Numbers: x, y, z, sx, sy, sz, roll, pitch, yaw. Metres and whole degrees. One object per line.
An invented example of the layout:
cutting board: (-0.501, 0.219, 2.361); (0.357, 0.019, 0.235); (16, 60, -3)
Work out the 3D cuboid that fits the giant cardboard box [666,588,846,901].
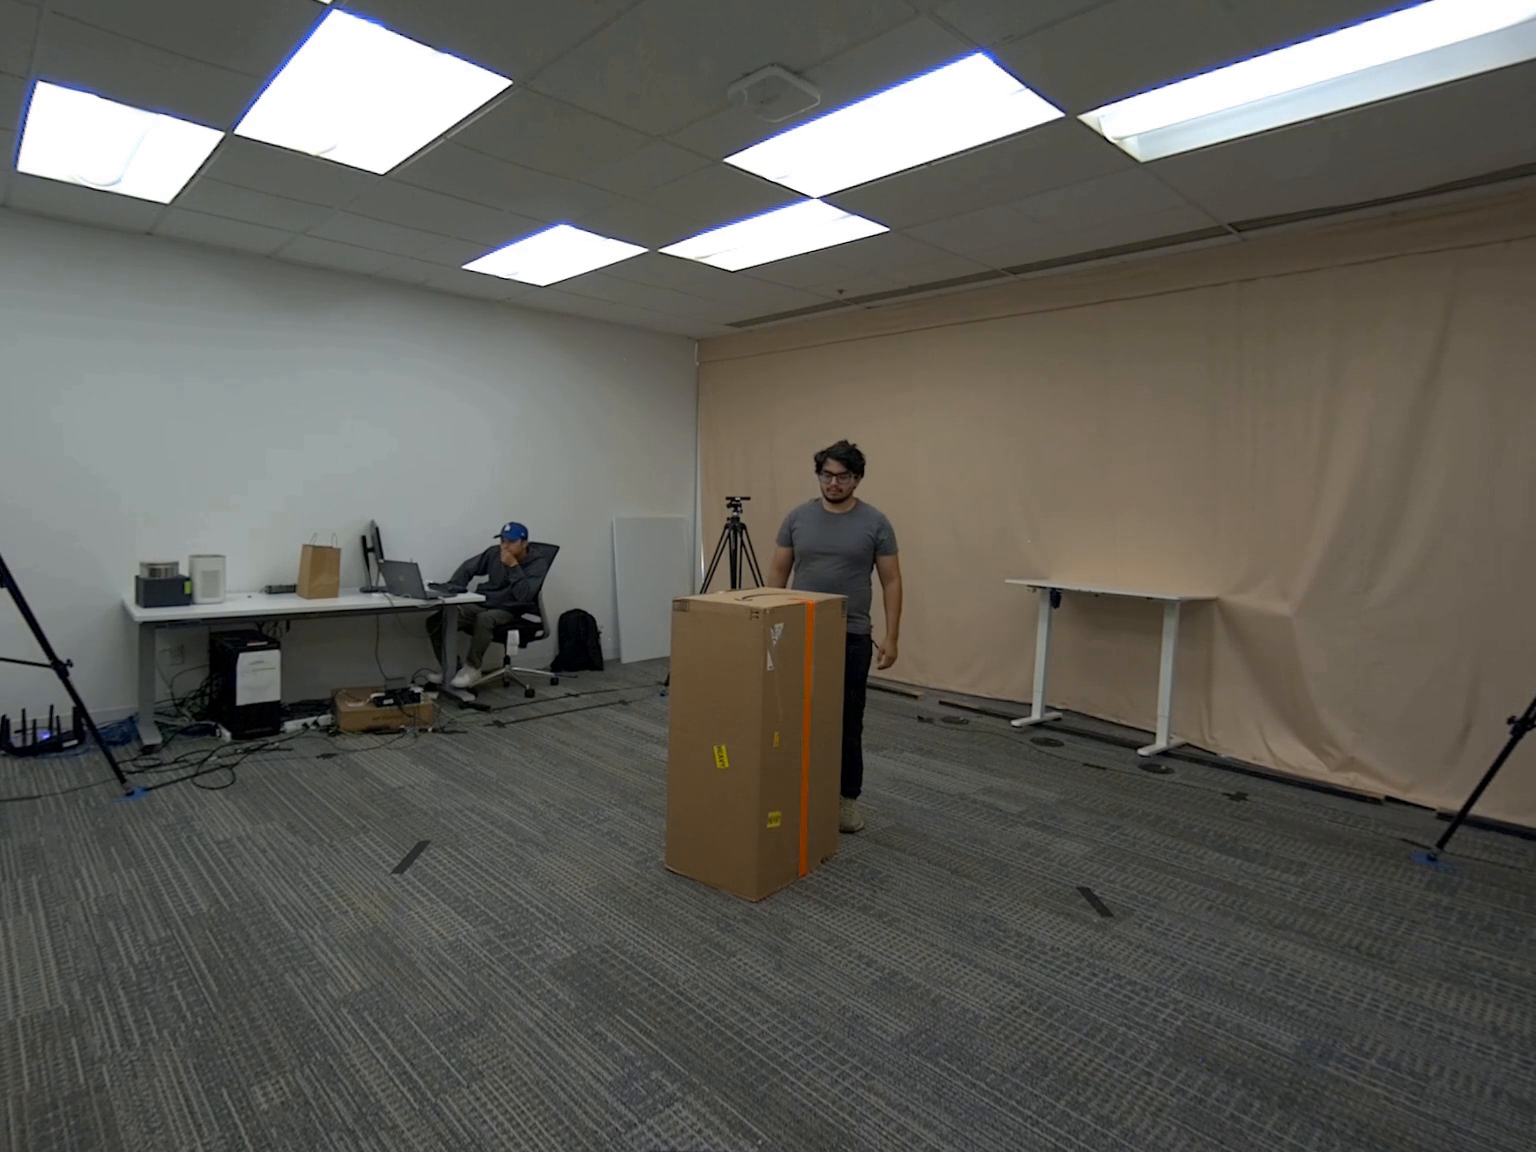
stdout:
giant cardboard box: (-0.043, 0.594, 3.220); (0.457, 1.025, 0.571); (3, 3, 35)
